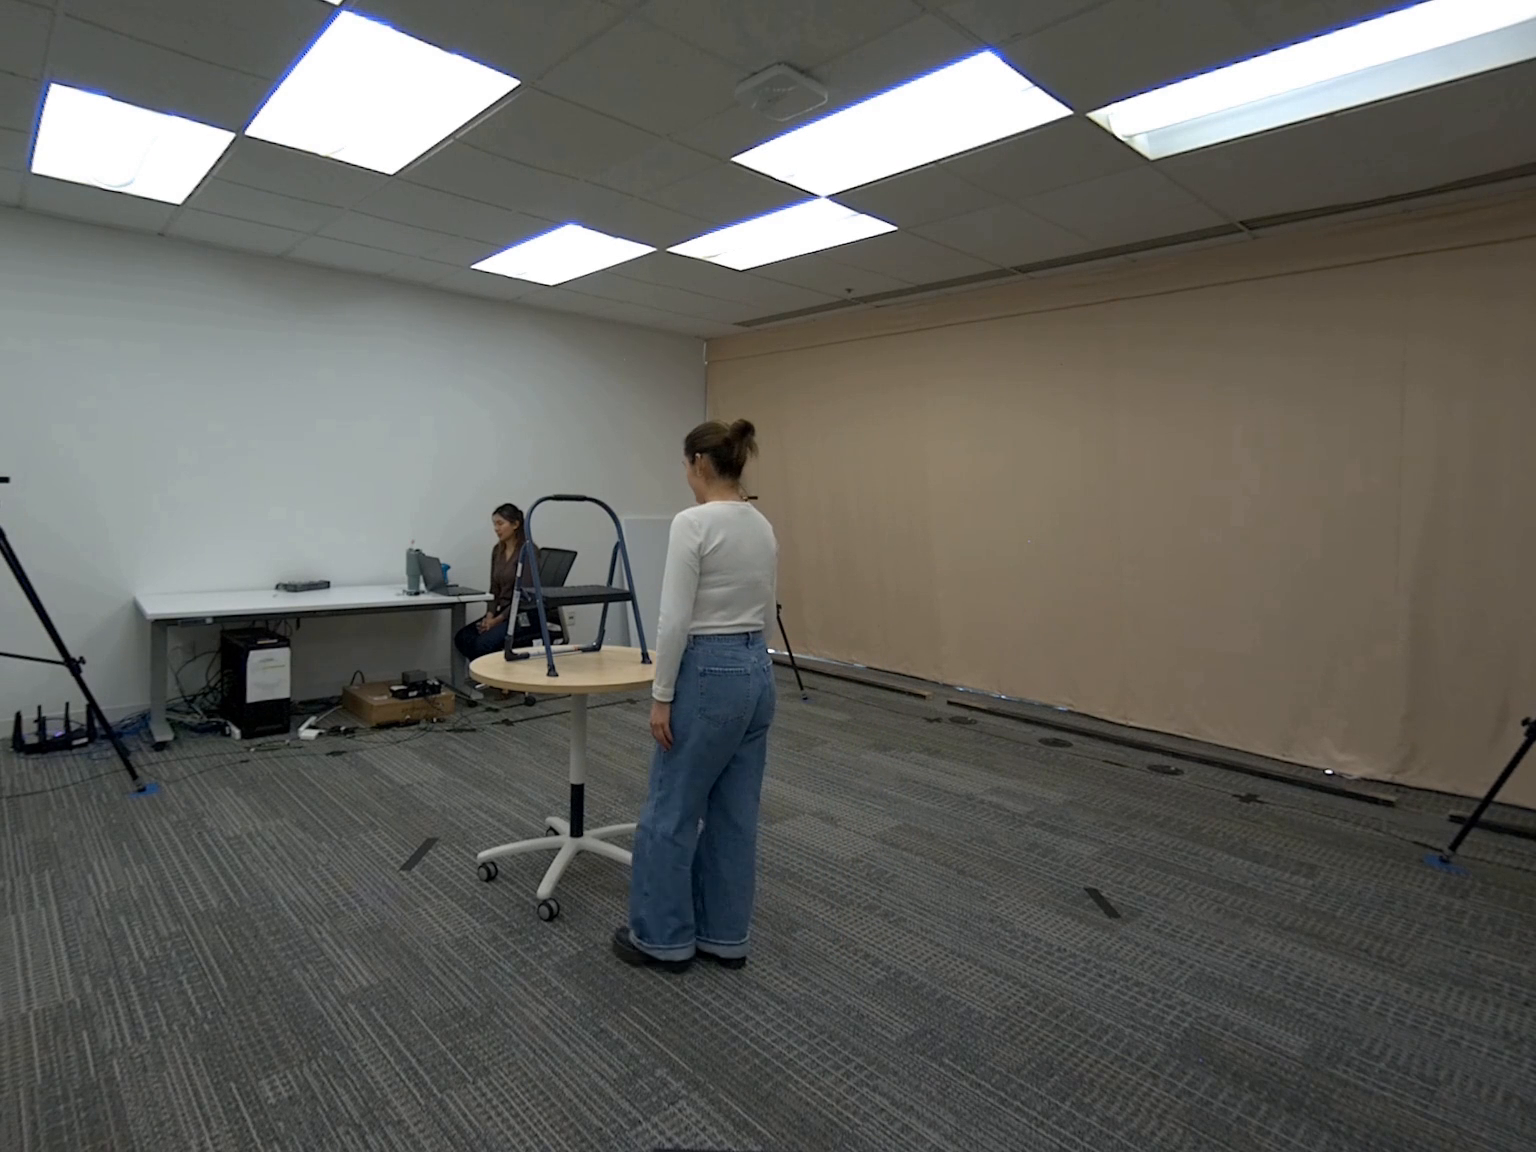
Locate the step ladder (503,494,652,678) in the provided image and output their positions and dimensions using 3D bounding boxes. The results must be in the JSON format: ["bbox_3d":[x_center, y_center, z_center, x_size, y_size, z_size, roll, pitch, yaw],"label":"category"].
[{"bbox_3d":[-0.689,0.013,3.051,0.358,0.605,0.420,6,4,45],"label":"step ladder"}]
